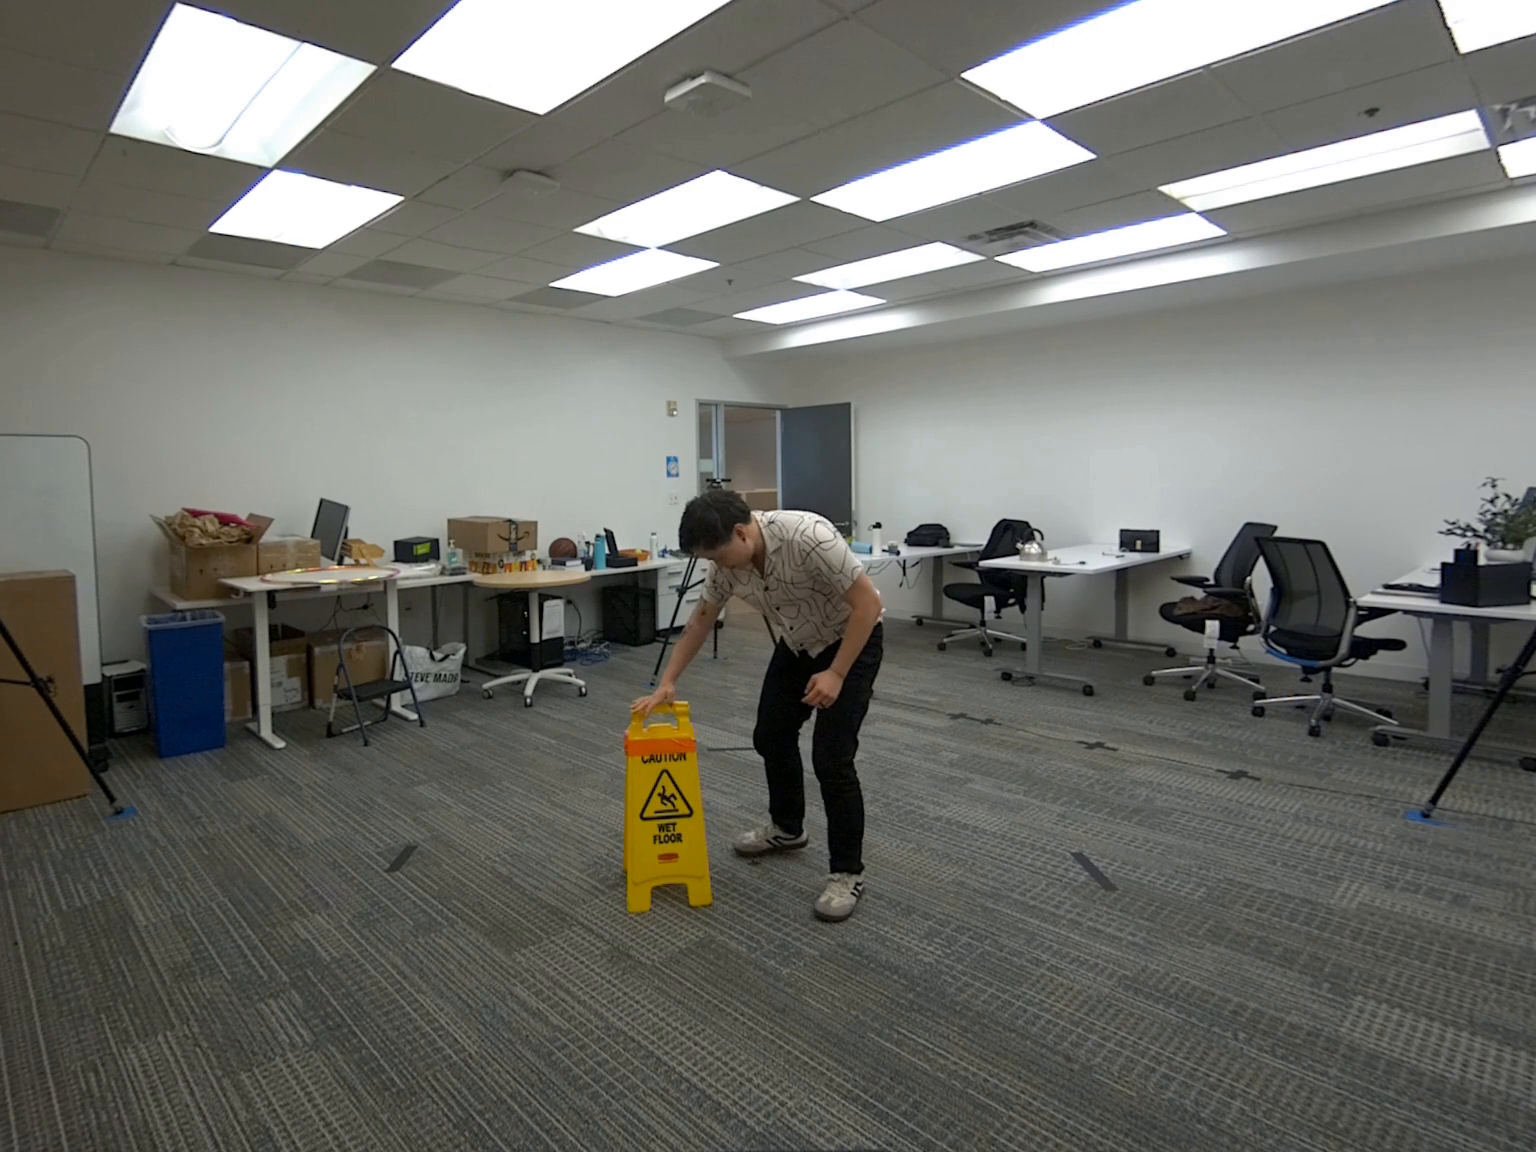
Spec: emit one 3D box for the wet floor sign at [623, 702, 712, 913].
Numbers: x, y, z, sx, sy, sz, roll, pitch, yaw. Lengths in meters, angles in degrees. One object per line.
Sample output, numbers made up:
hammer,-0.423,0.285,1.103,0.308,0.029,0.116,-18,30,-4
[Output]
wet floor sign,-0.351,0.745,2.914,0.280,0.643,0.294,-2,5,-10
